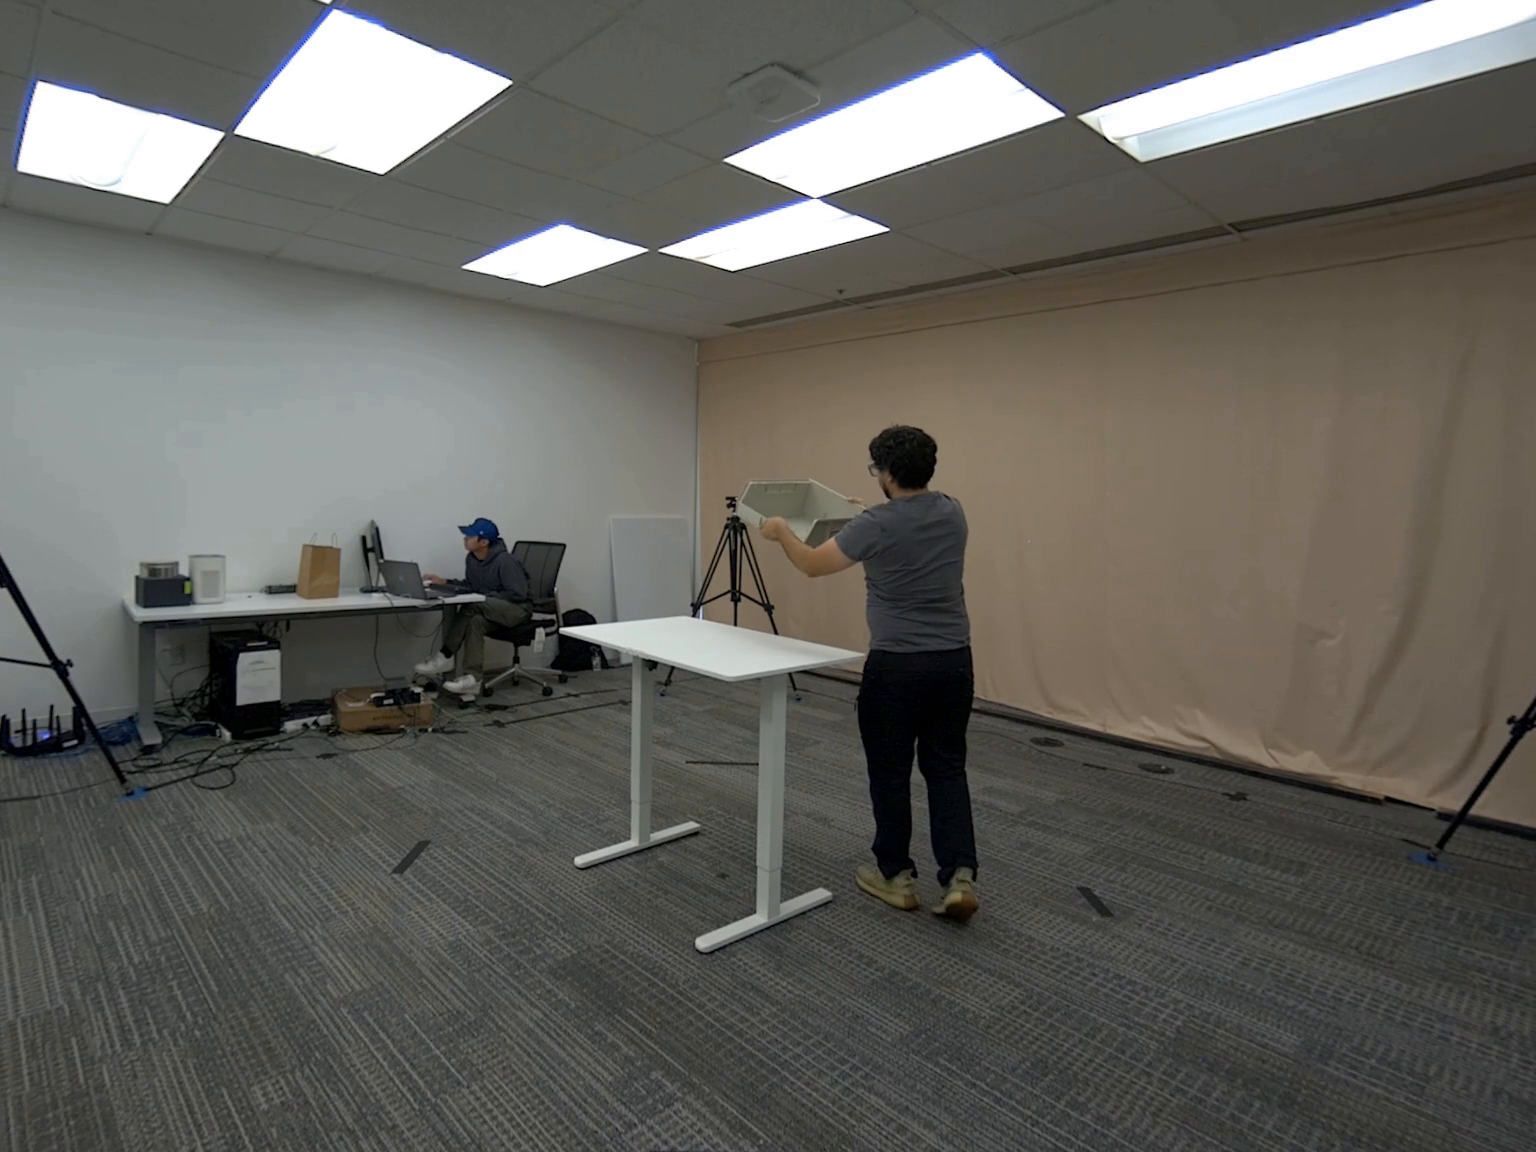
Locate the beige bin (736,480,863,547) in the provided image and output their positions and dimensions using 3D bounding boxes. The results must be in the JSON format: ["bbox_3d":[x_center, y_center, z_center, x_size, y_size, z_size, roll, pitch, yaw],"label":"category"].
[{"bbox_3d":[0.138,-0.224,3.295,0.369,0.187,0.436,-5,27,-39],"label":"beige bin"}]
